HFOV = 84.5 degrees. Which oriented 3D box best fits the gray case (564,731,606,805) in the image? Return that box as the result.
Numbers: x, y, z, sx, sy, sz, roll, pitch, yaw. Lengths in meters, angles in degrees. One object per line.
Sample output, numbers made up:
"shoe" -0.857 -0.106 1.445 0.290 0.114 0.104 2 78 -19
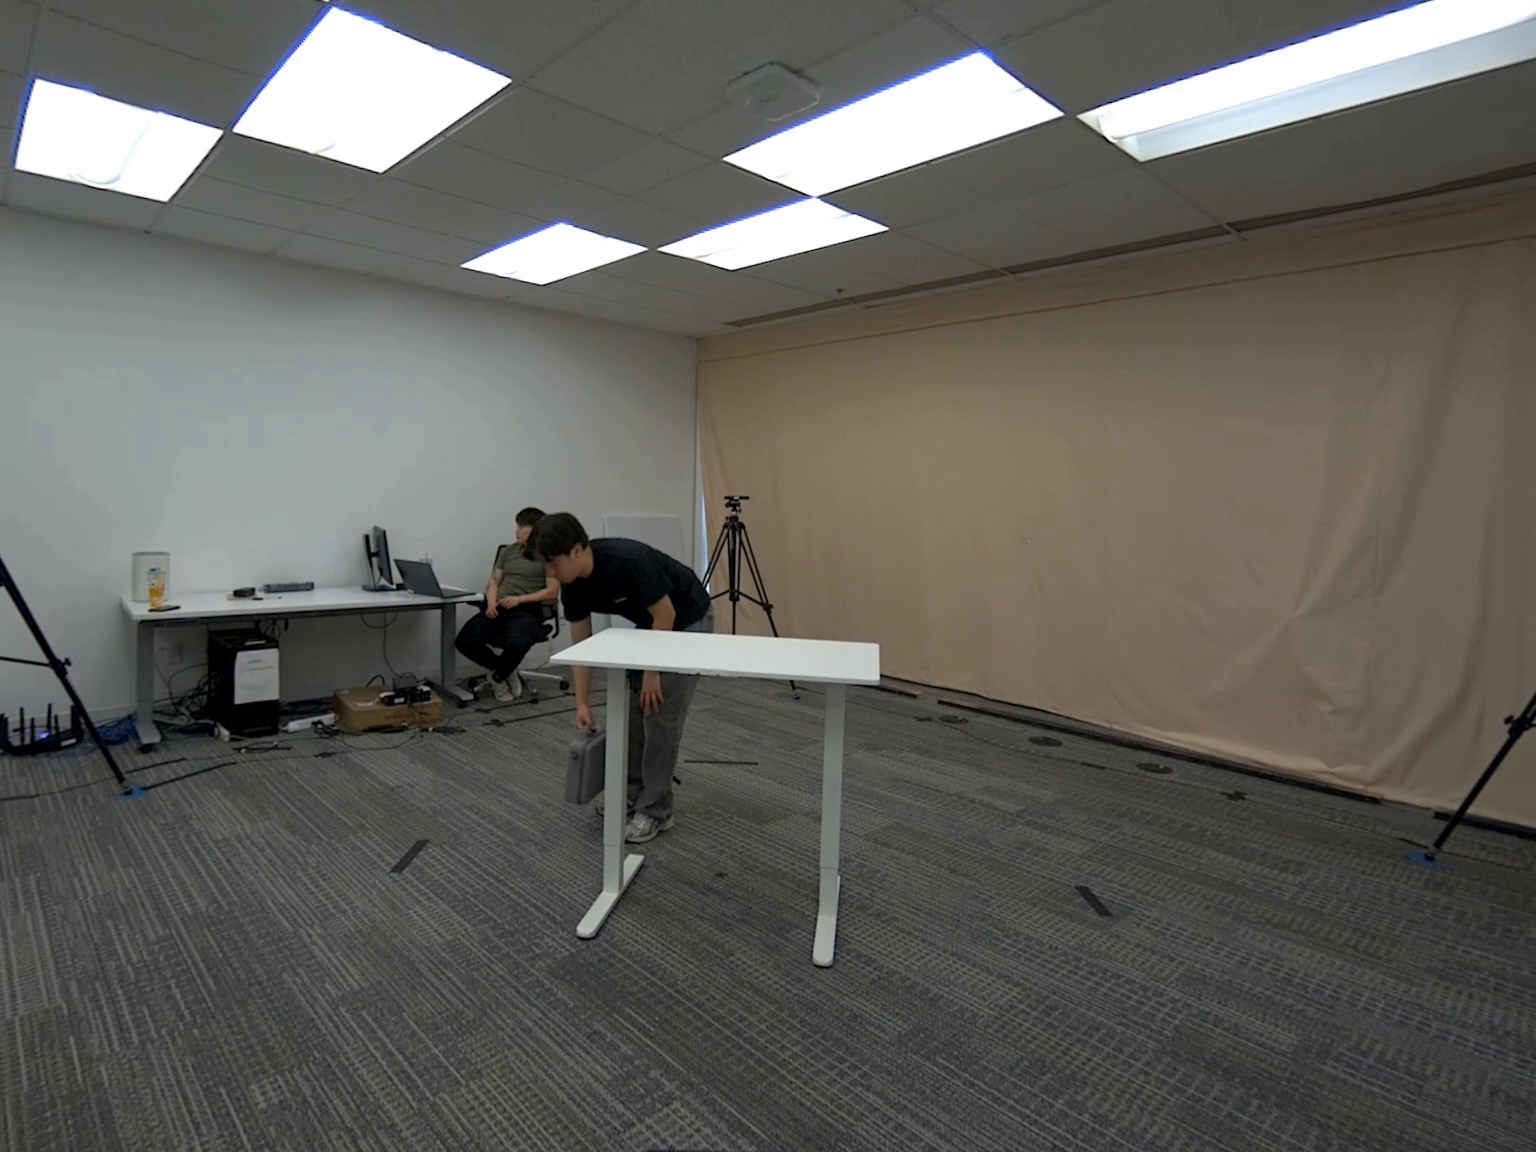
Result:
"gray case" -0.752 0.761 3.485 0.104 0.286 0.262 4 4 8
